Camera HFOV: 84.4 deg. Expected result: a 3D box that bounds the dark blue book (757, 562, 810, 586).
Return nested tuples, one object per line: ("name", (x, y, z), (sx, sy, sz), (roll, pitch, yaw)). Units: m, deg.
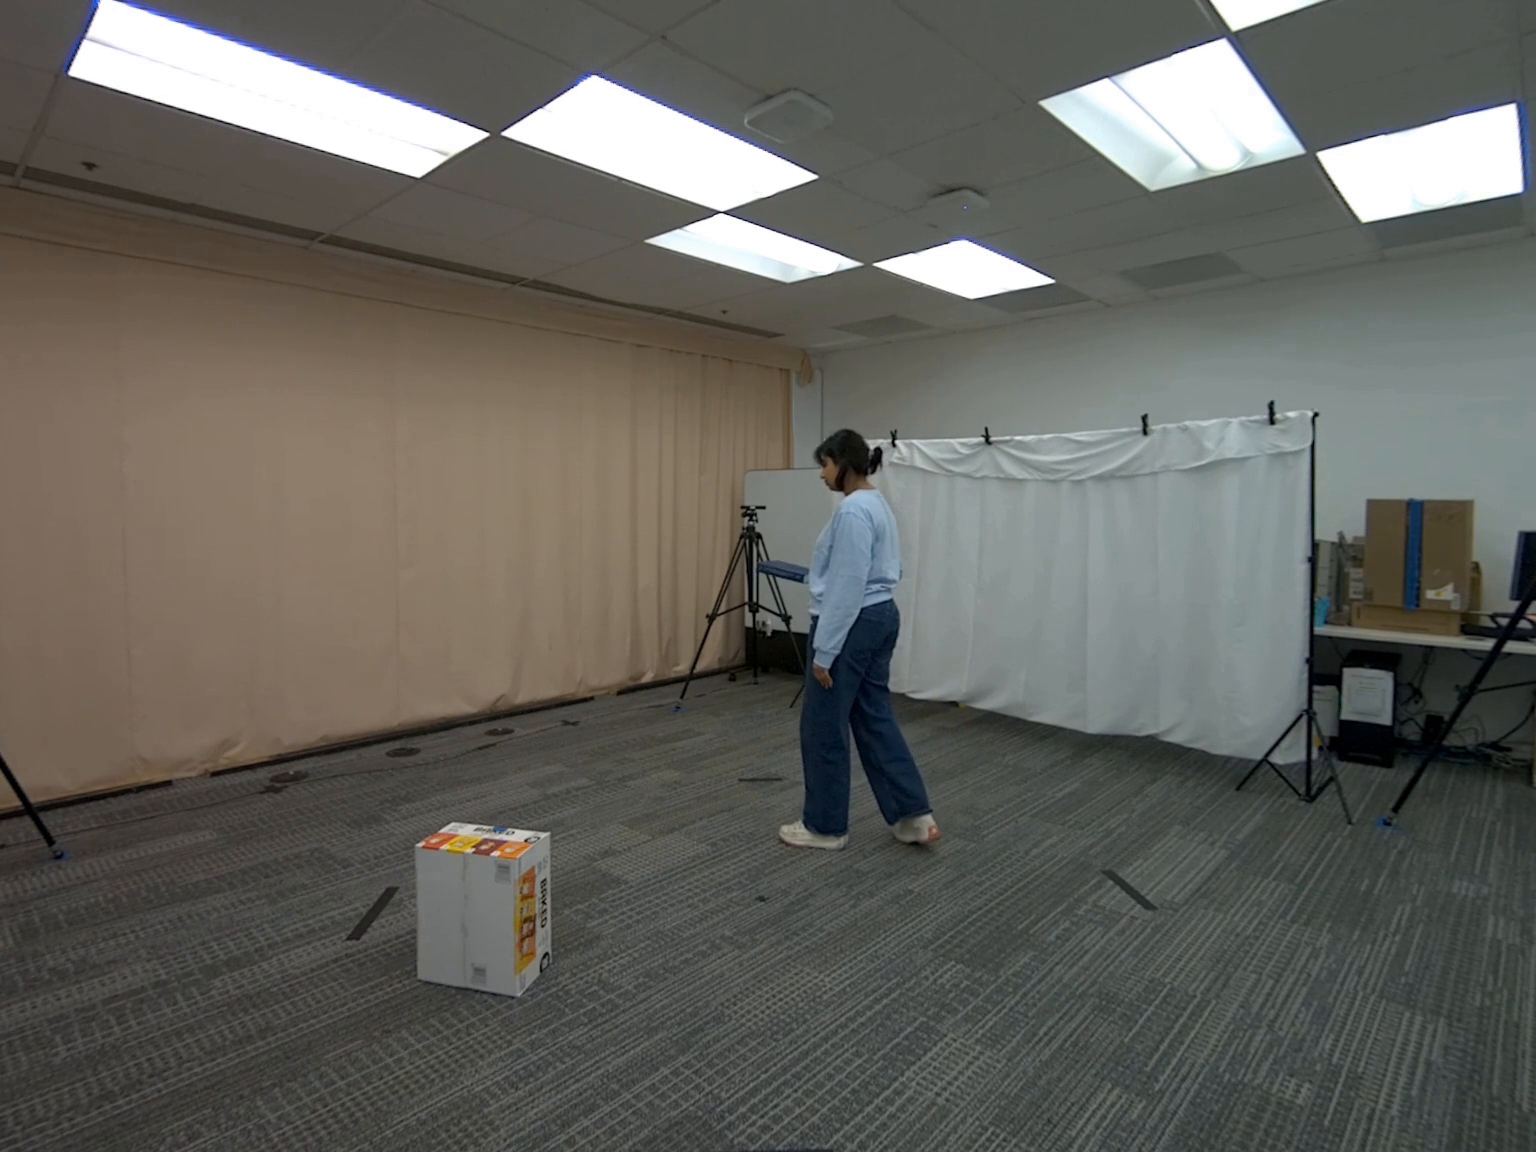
("dark blue book", (0.100, -0.013, 3.603), (0.253, 0.045, 0.159), (12, 8, 29))
